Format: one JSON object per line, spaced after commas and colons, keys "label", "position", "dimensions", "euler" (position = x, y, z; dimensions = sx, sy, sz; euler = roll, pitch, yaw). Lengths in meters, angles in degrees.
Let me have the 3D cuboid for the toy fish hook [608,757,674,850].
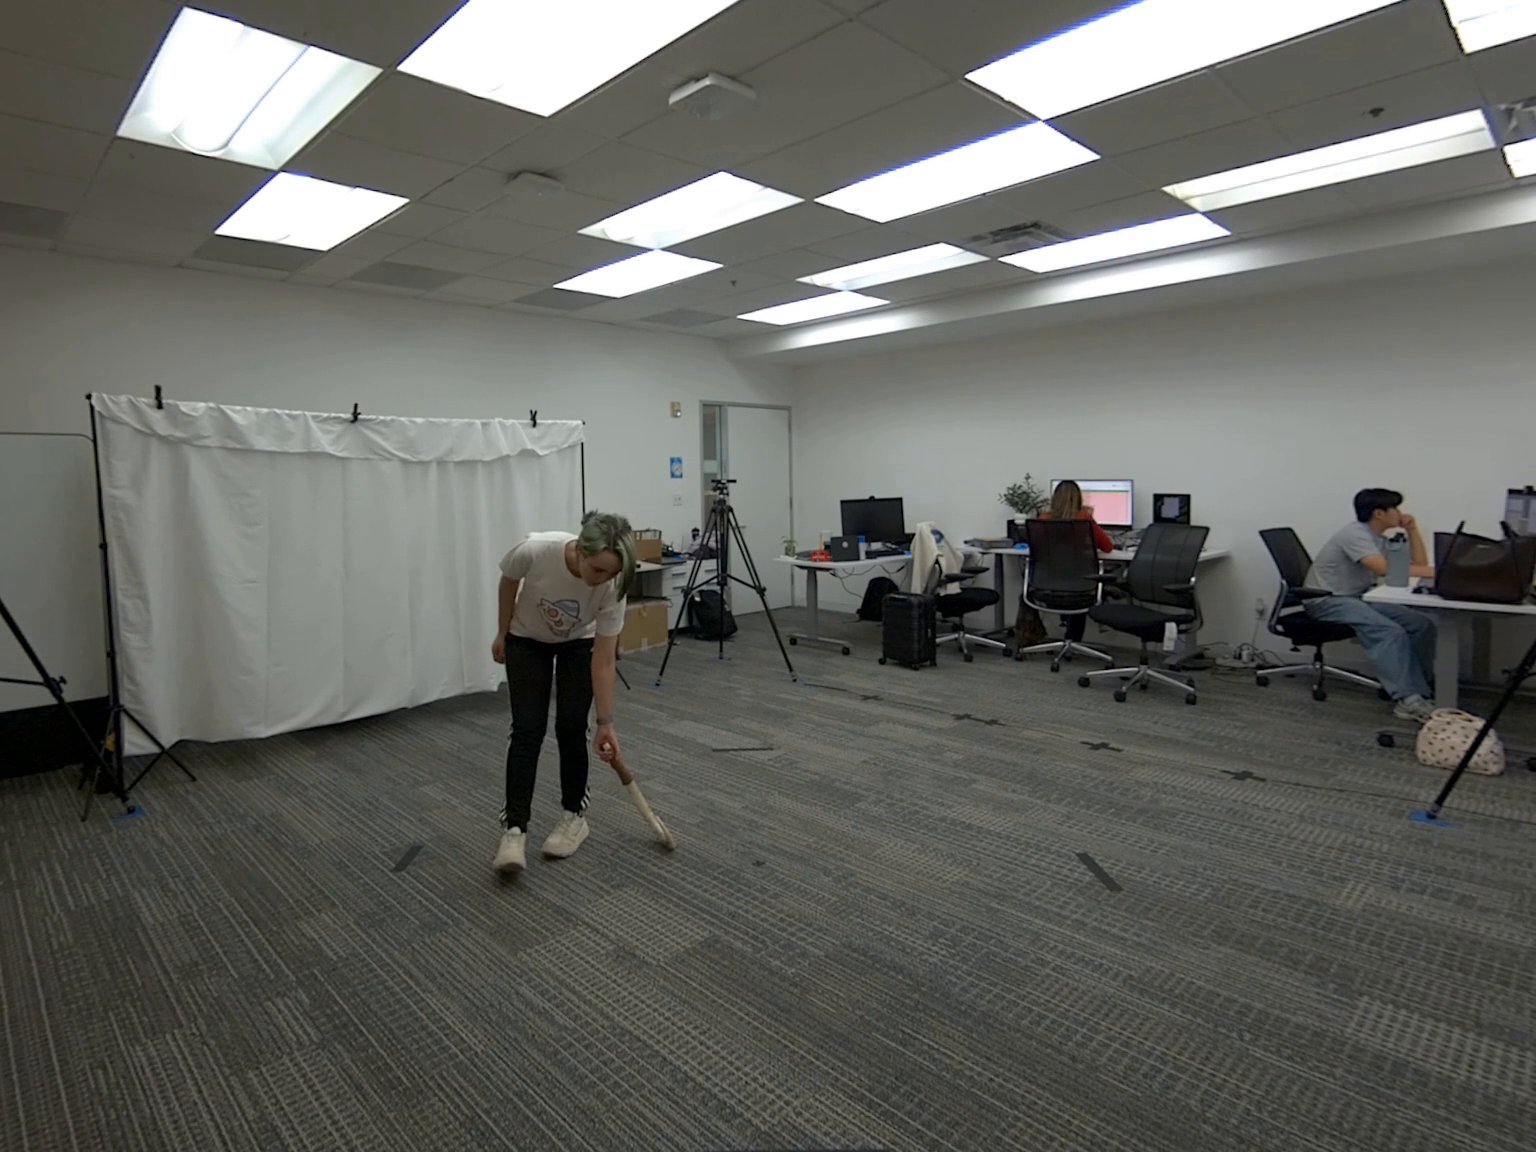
{"label": "toy fish hook", "position": [-0.477, 0.817, 3.187], "dimensions": [0.048, 0.493, 0.231], "euler": [-38, 25, -23]}
